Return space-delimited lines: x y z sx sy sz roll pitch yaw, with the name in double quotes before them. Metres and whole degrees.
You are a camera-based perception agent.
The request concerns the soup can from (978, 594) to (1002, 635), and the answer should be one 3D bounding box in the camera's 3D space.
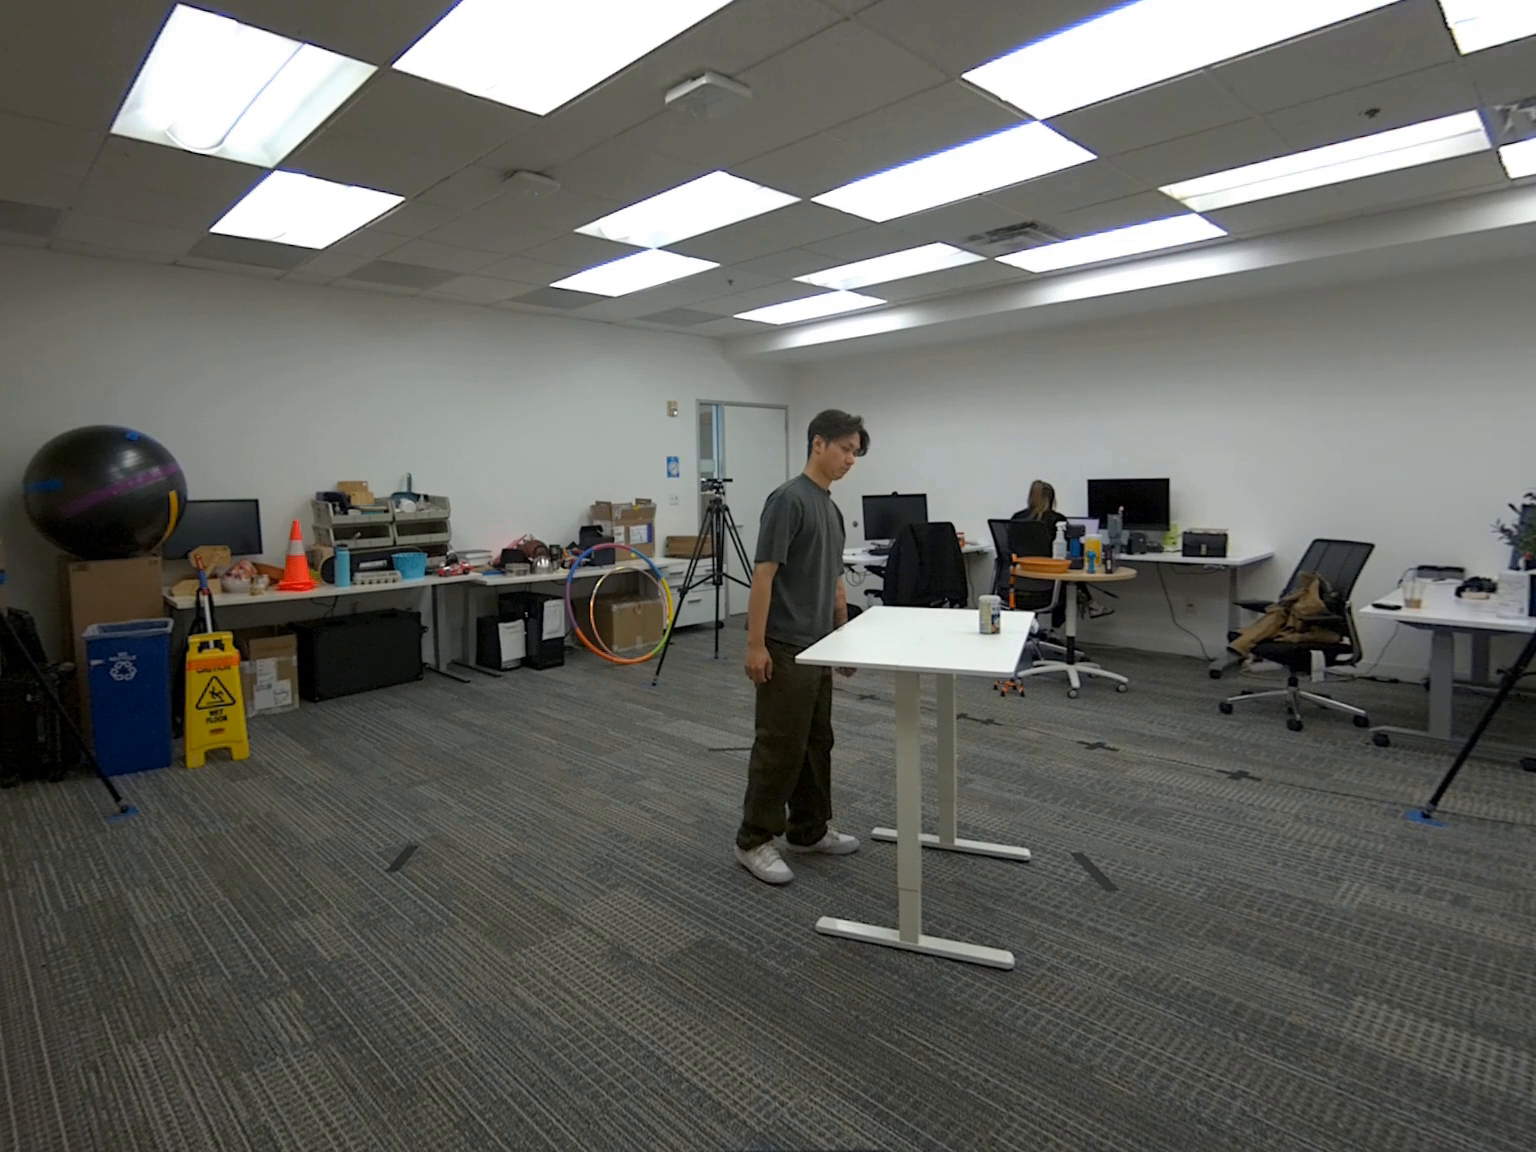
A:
"soup can" 0.719 0.127 2.771 0.067 0.121 0.067 2 3 -2
